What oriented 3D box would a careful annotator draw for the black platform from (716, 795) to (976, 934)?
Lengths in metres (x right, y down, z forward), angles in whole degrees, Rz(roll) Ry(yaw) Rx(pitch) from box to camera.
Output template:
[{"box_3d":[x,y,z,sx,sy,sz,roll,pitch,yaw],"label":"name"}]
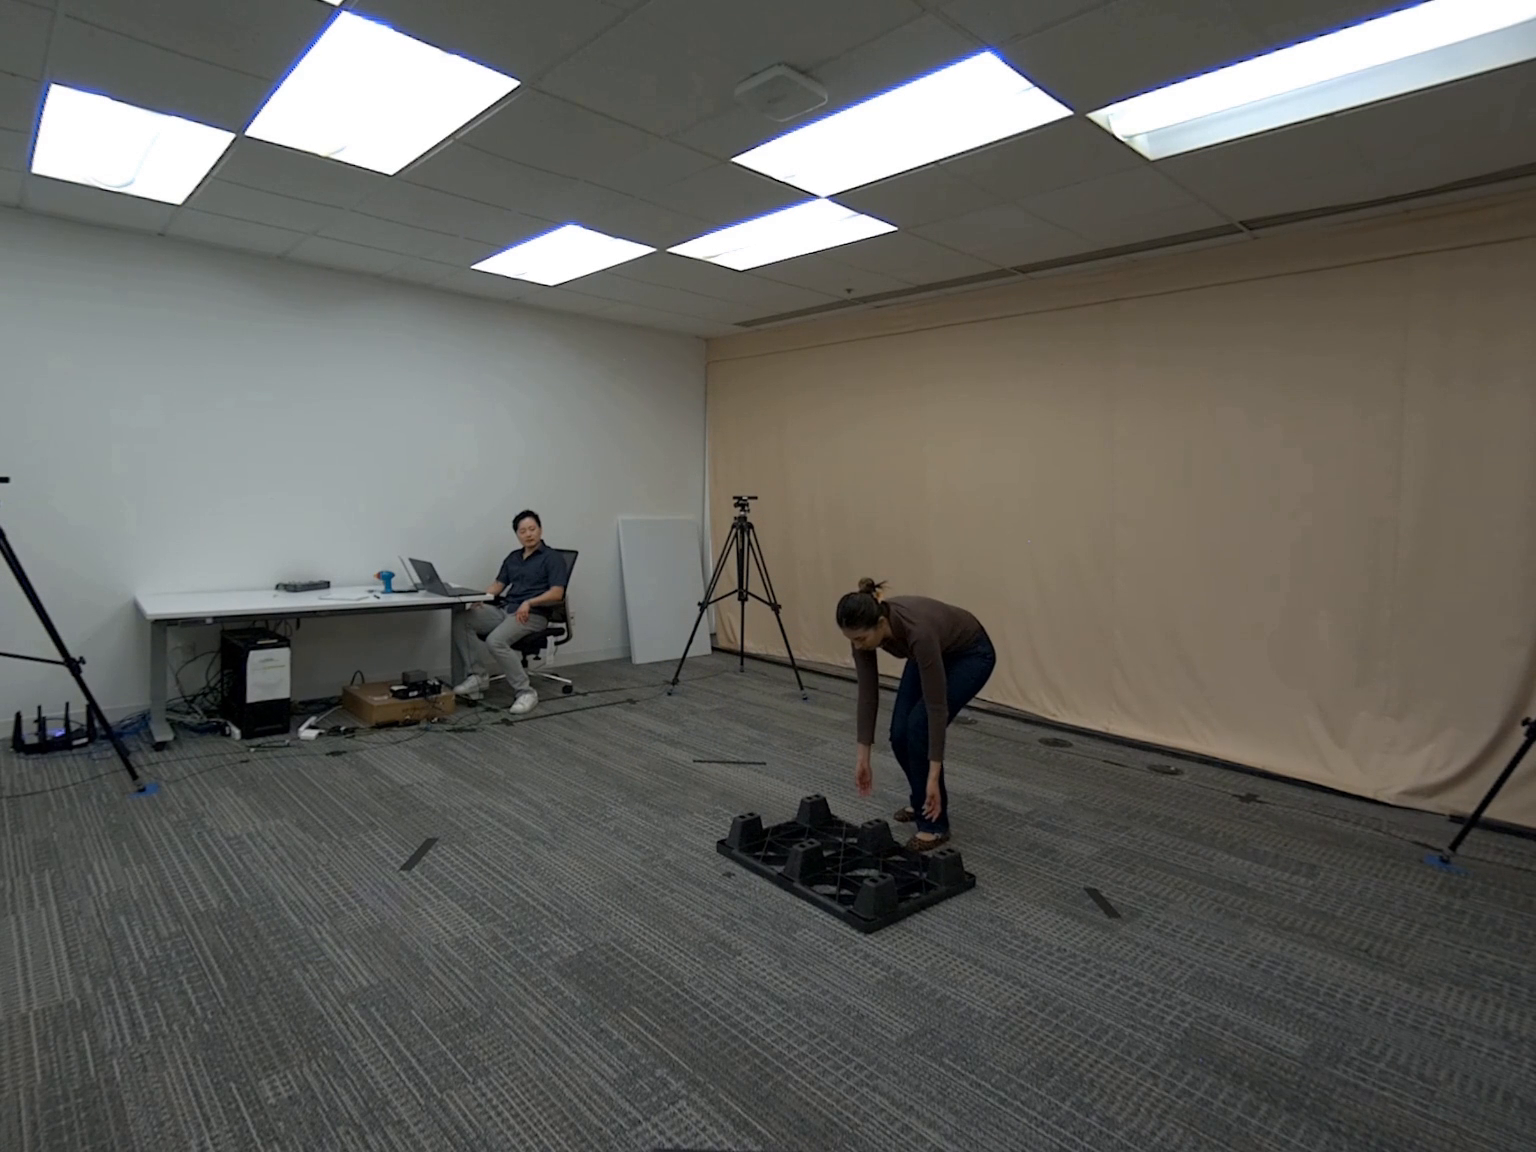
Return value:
[{"box_3d":[0.264,1.042,3.180,0.591,0.143,0.826,-2,6,-41],"label":"black platform"}]
